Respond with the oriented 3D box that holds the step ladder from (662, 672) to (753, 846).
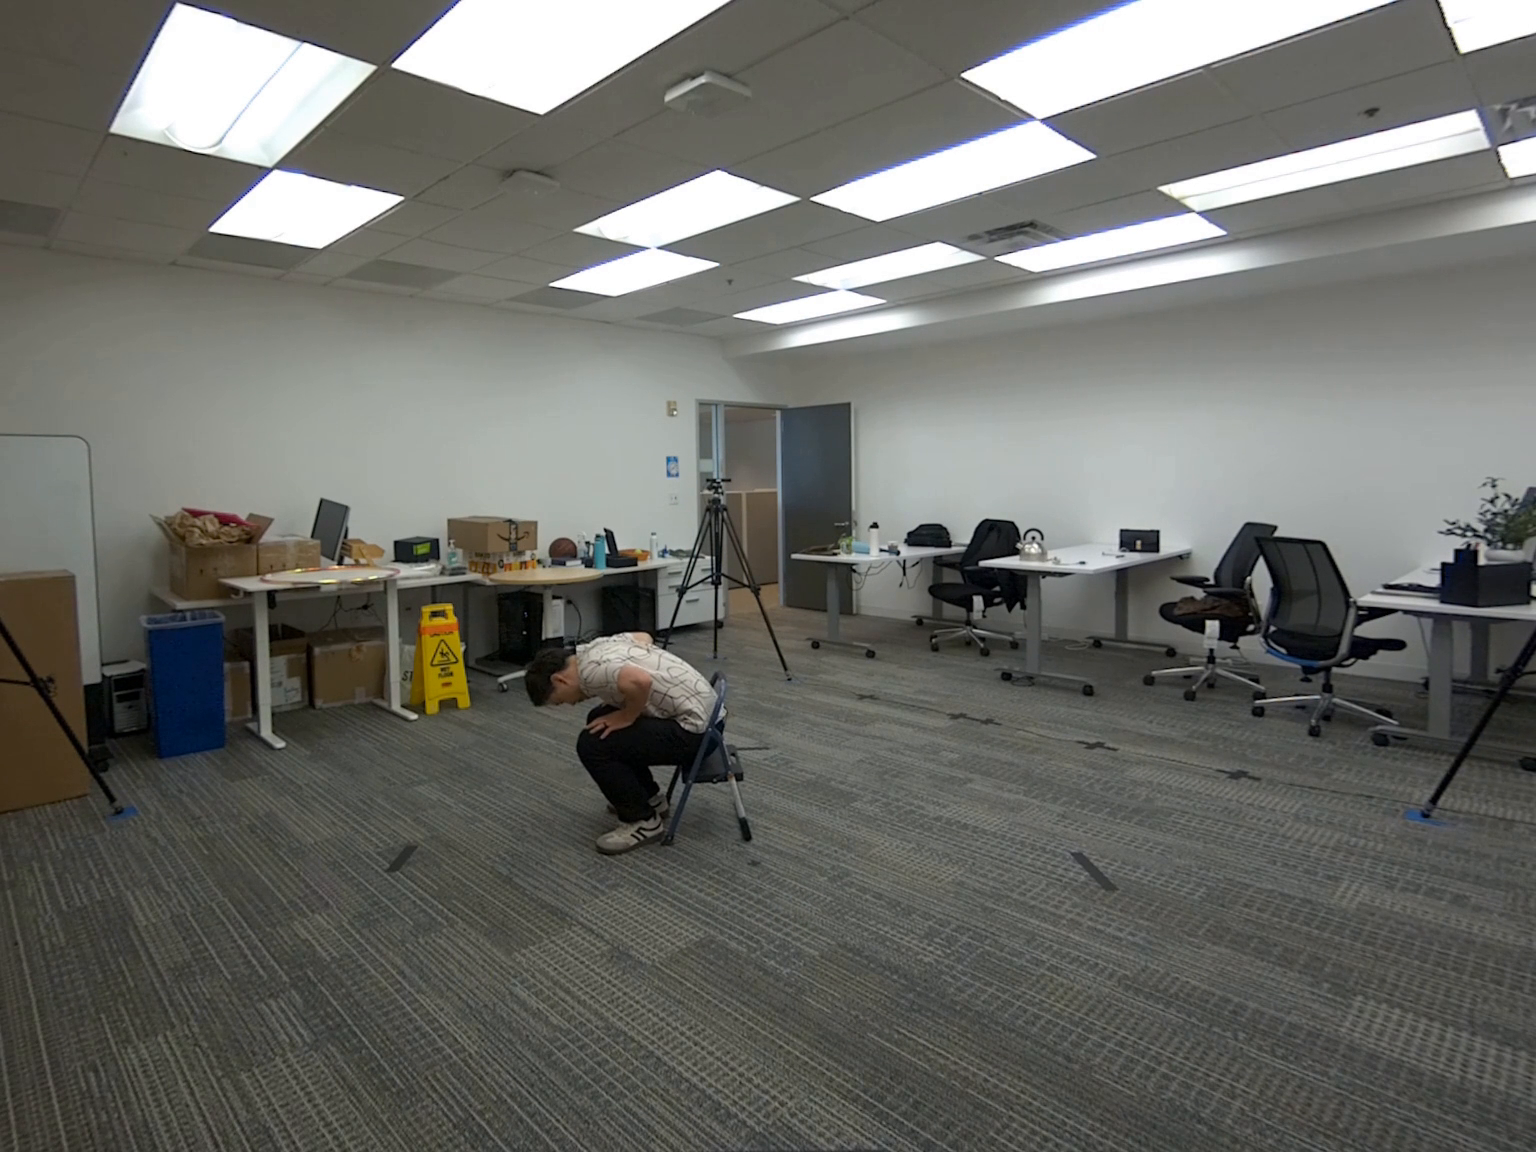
[{"bbox_3d":[-0.257,0.704,3.462,0.347,0.604,0.435,-1,4,-8],"label":"step ladder"}]
